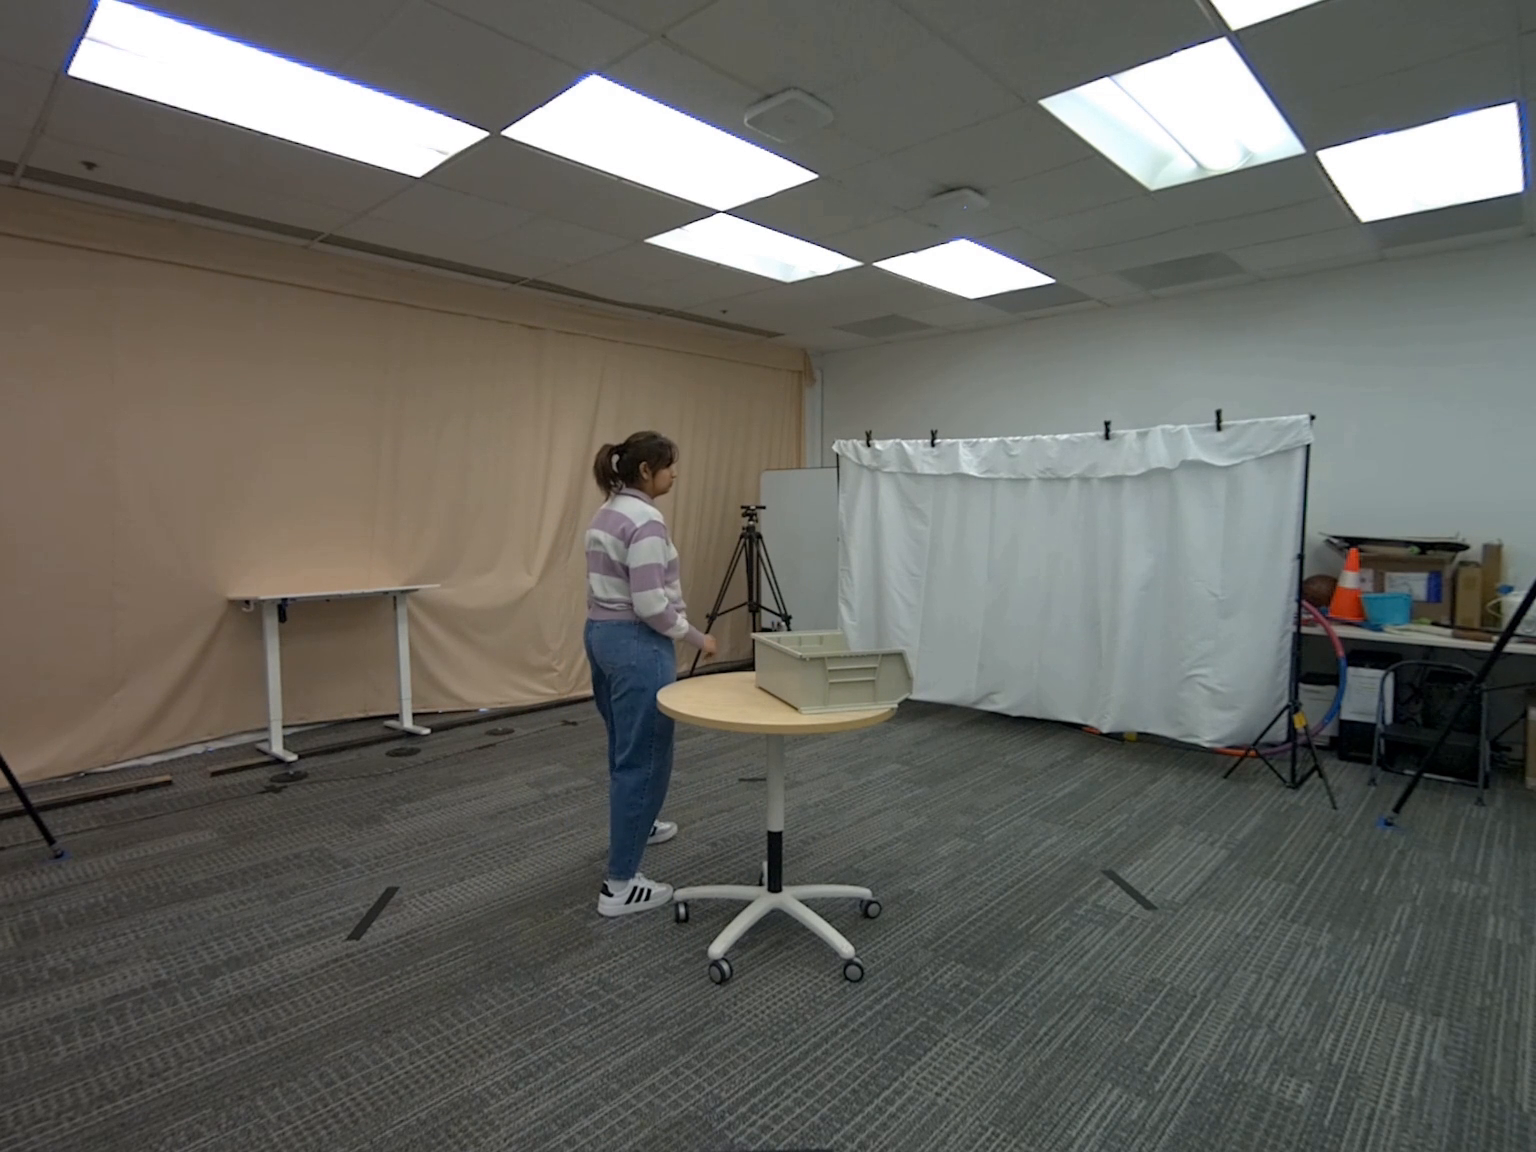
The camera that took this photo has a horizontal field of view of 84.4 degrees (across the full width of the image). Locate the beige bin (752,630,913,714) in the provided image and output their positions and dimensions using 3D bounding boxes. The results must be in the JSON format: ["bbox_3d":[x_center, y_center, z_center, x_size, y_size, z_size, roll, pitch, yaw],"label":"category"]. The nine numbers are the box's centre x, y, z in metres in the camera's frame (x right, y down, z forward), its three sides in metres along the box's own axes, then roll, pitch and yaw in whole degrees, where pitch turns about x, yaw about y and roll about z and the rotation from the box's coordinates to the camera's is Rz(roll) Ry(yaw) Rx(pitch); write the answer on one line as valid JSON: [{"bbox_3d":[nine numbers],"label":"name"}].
[{"bbox_3d":[0.199,0.304,2.683,0.371,0.188,0.431,-1,5,-18],"label":"beige bin"}]
